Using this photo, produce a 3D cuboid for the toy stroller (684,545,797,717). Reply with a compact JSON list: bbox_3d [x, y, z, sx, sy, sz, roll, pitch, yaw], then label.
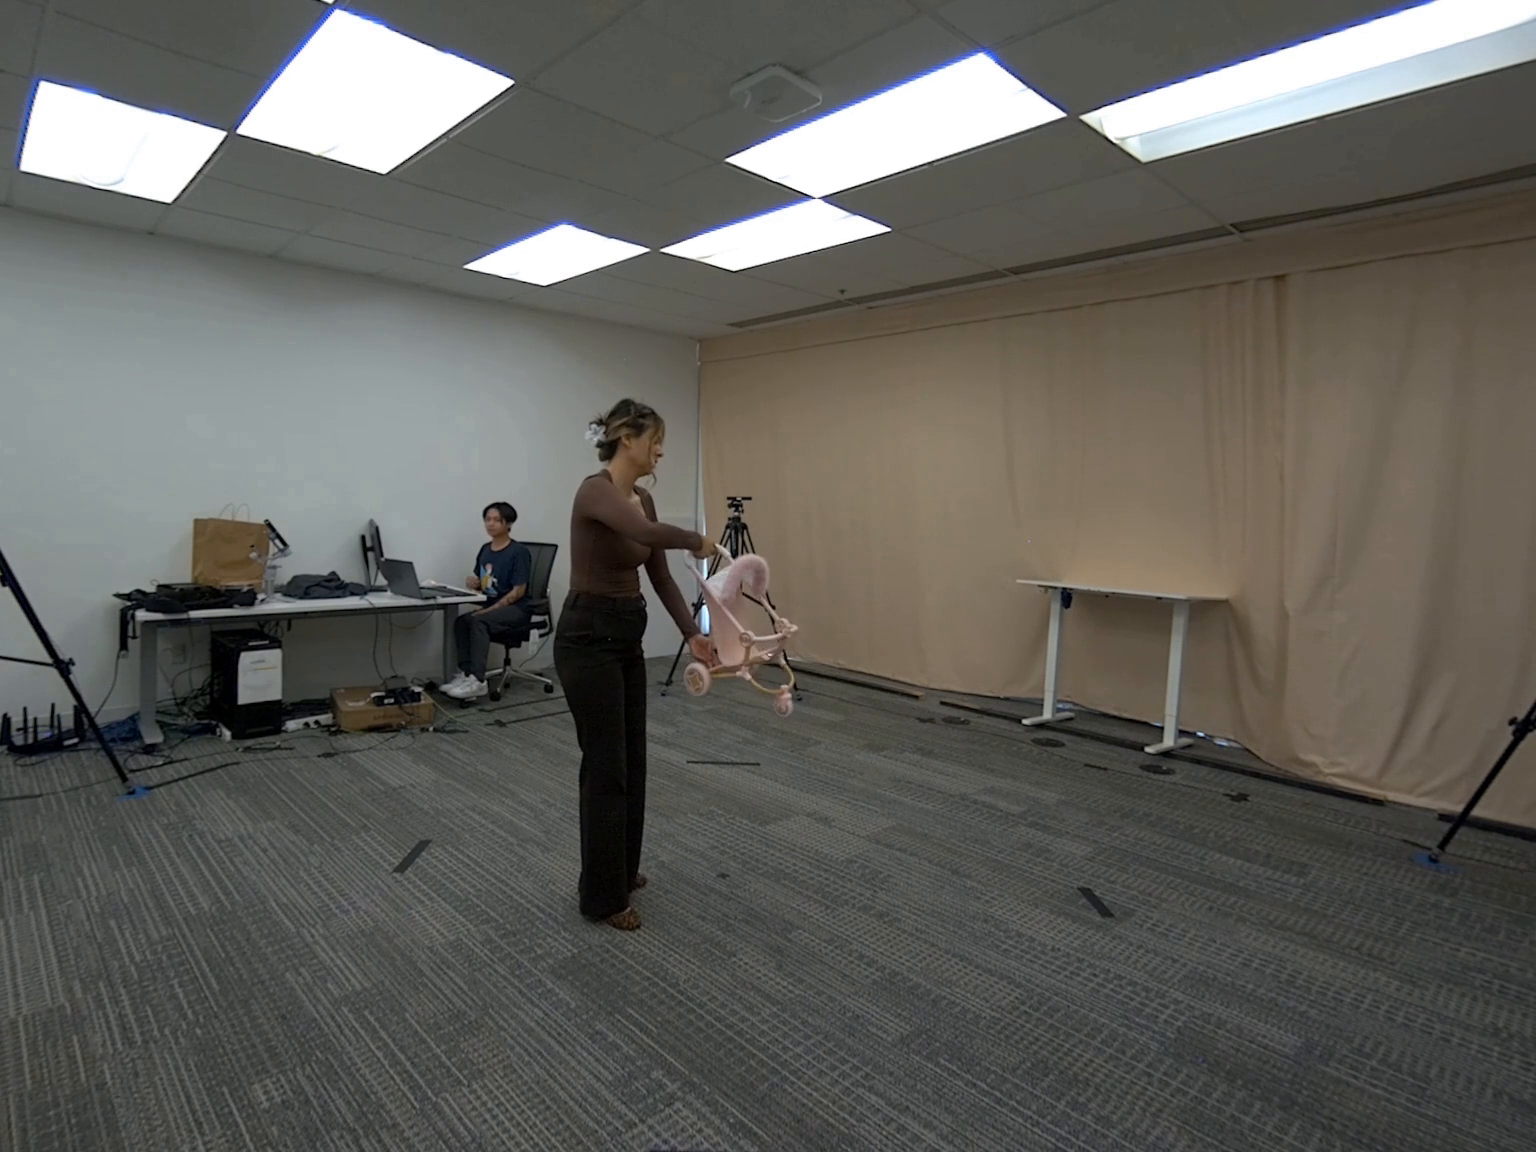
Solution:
[{"bbox_3d":[-0.077,0.165,2.639,0.349,0.533,0.276,1,7,42],"label":"toy stroller"}]
